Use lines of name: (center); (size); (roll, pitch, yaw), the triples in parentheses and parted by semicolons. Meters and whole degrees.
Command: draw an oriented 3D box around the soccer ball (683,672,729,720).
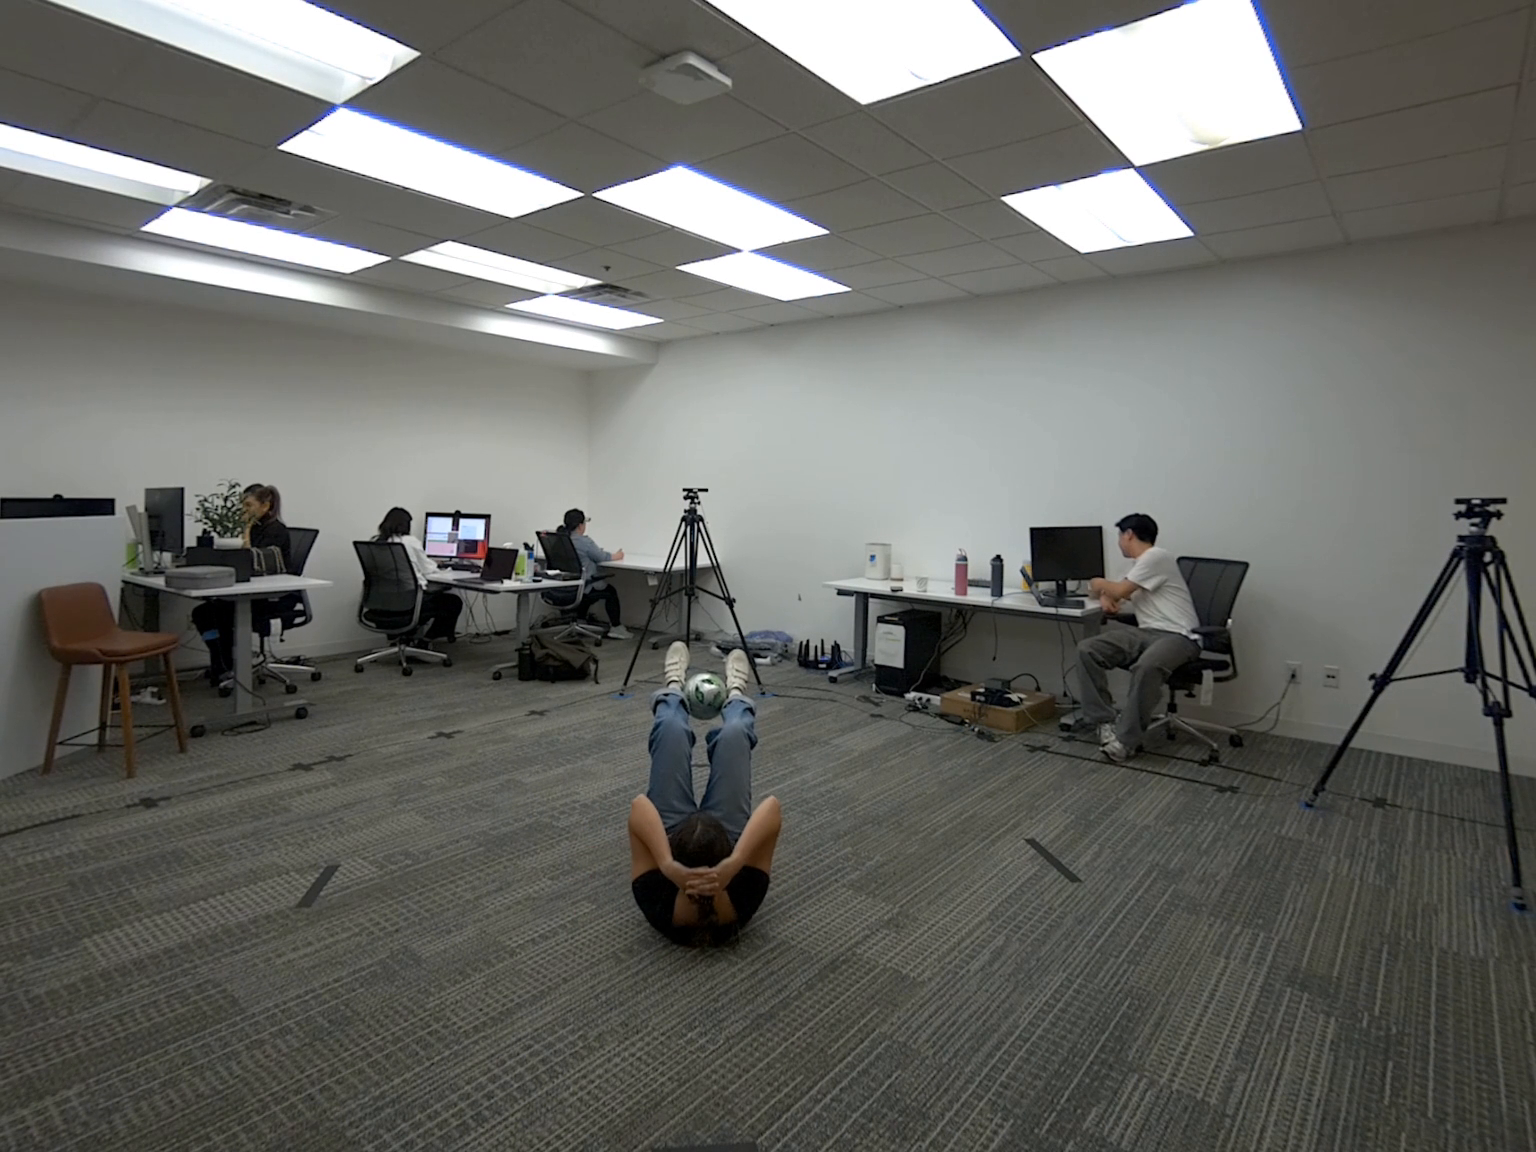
soccer ball: (-0.259, 0.475, 3.428); (0.187, 0.187, 0.188); (-3, 4, -2)
